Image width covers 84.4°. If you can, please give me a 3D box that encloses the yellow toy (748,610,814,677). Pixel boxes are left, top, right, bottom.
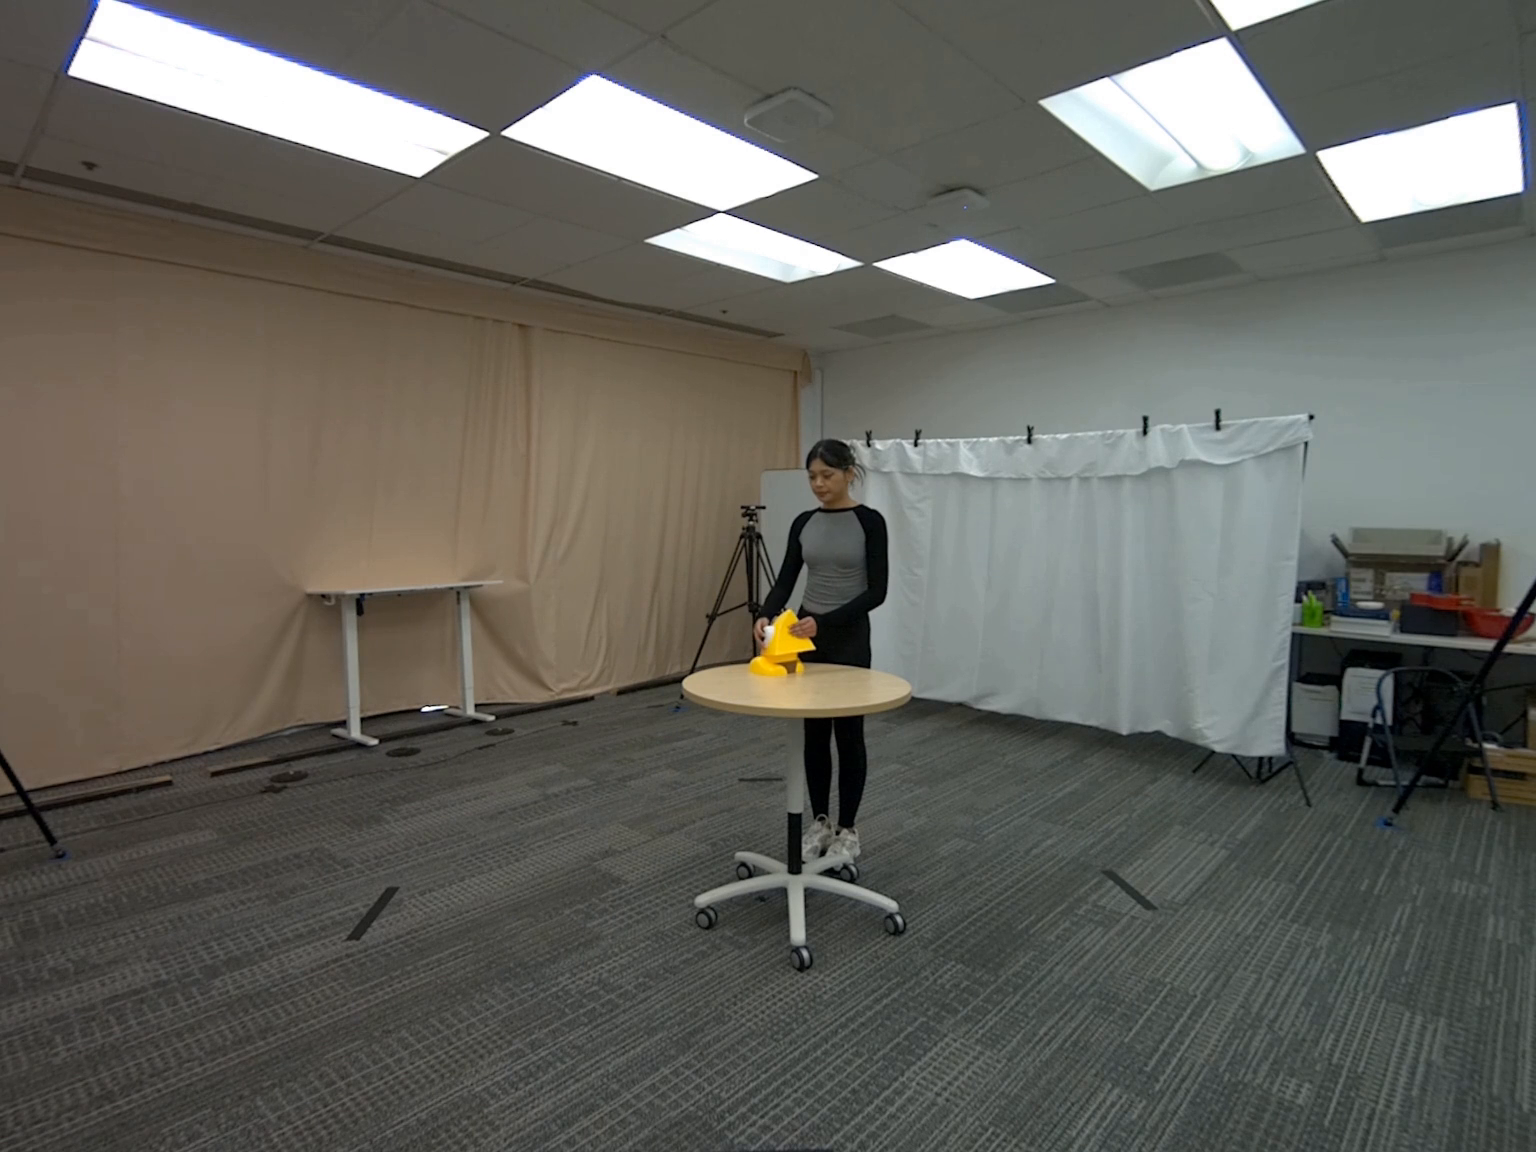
[{"bbox_3d":[0.041,0.232,3.062,0.198,0.230,0.199,-3,5,-43],"label":"yellow toy"}]
